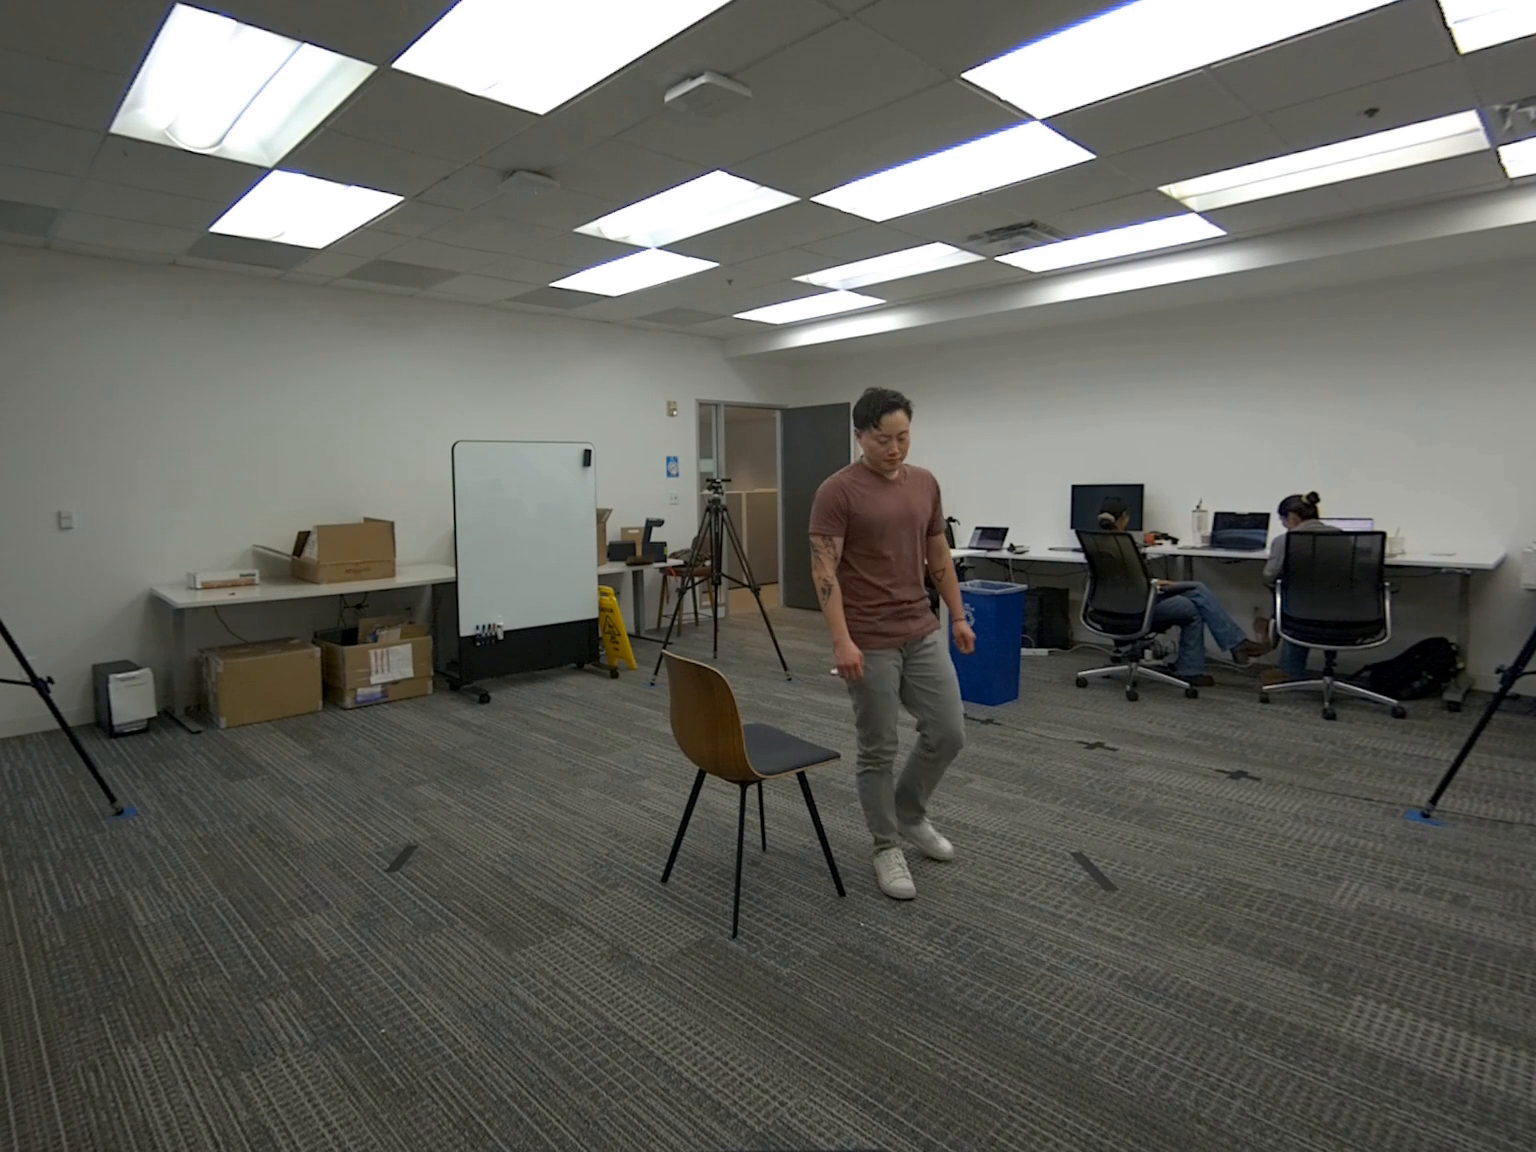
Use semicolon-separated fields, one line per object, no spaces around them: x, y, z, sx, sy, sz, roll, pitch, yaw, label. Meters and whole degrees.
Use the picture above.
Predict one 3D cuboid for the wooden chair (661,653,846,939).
-0.055;0.643;2.873;0.511;0.872;0.492;-9;8;-35;wooden chair
